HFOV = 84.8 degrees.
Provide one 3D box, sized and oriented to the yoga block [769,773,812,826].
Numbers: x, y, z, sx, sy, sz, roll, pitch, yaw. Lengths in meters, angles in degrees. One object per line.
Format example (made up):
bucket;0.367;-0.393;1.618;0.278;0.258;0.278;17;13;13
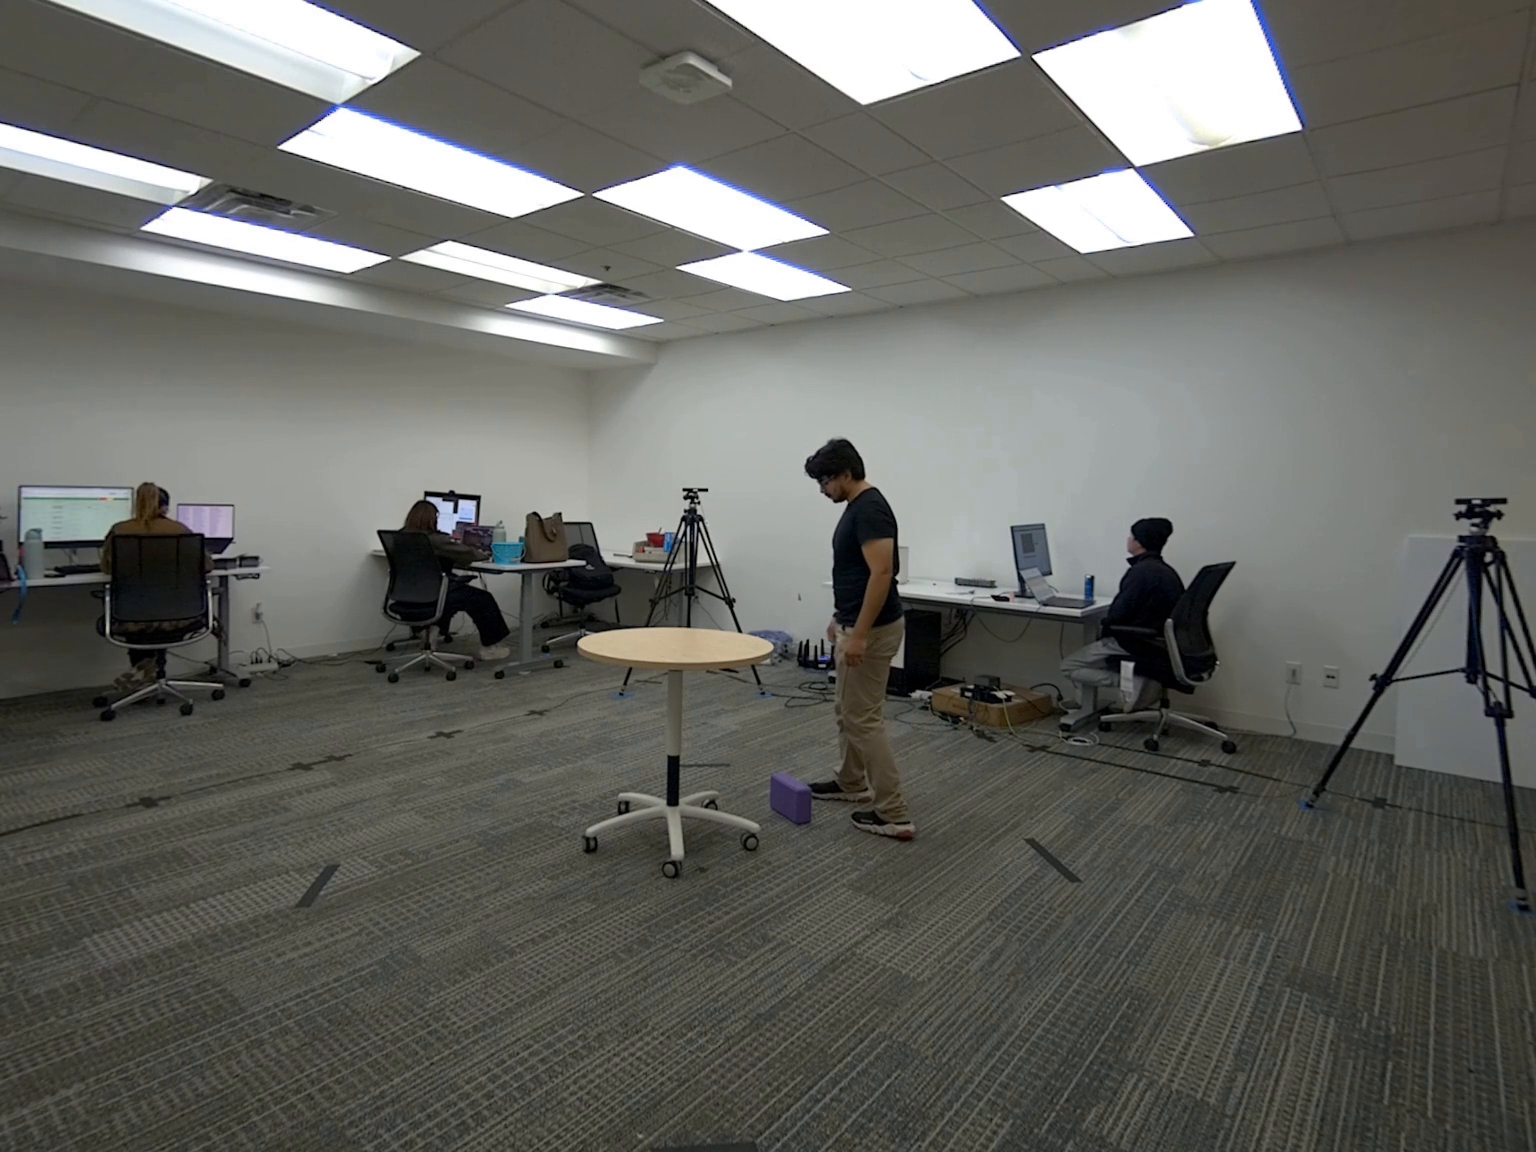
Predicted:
yoga block;0.088;0.949;3.654;0.074;0.148;0.236;-2;5;-28
